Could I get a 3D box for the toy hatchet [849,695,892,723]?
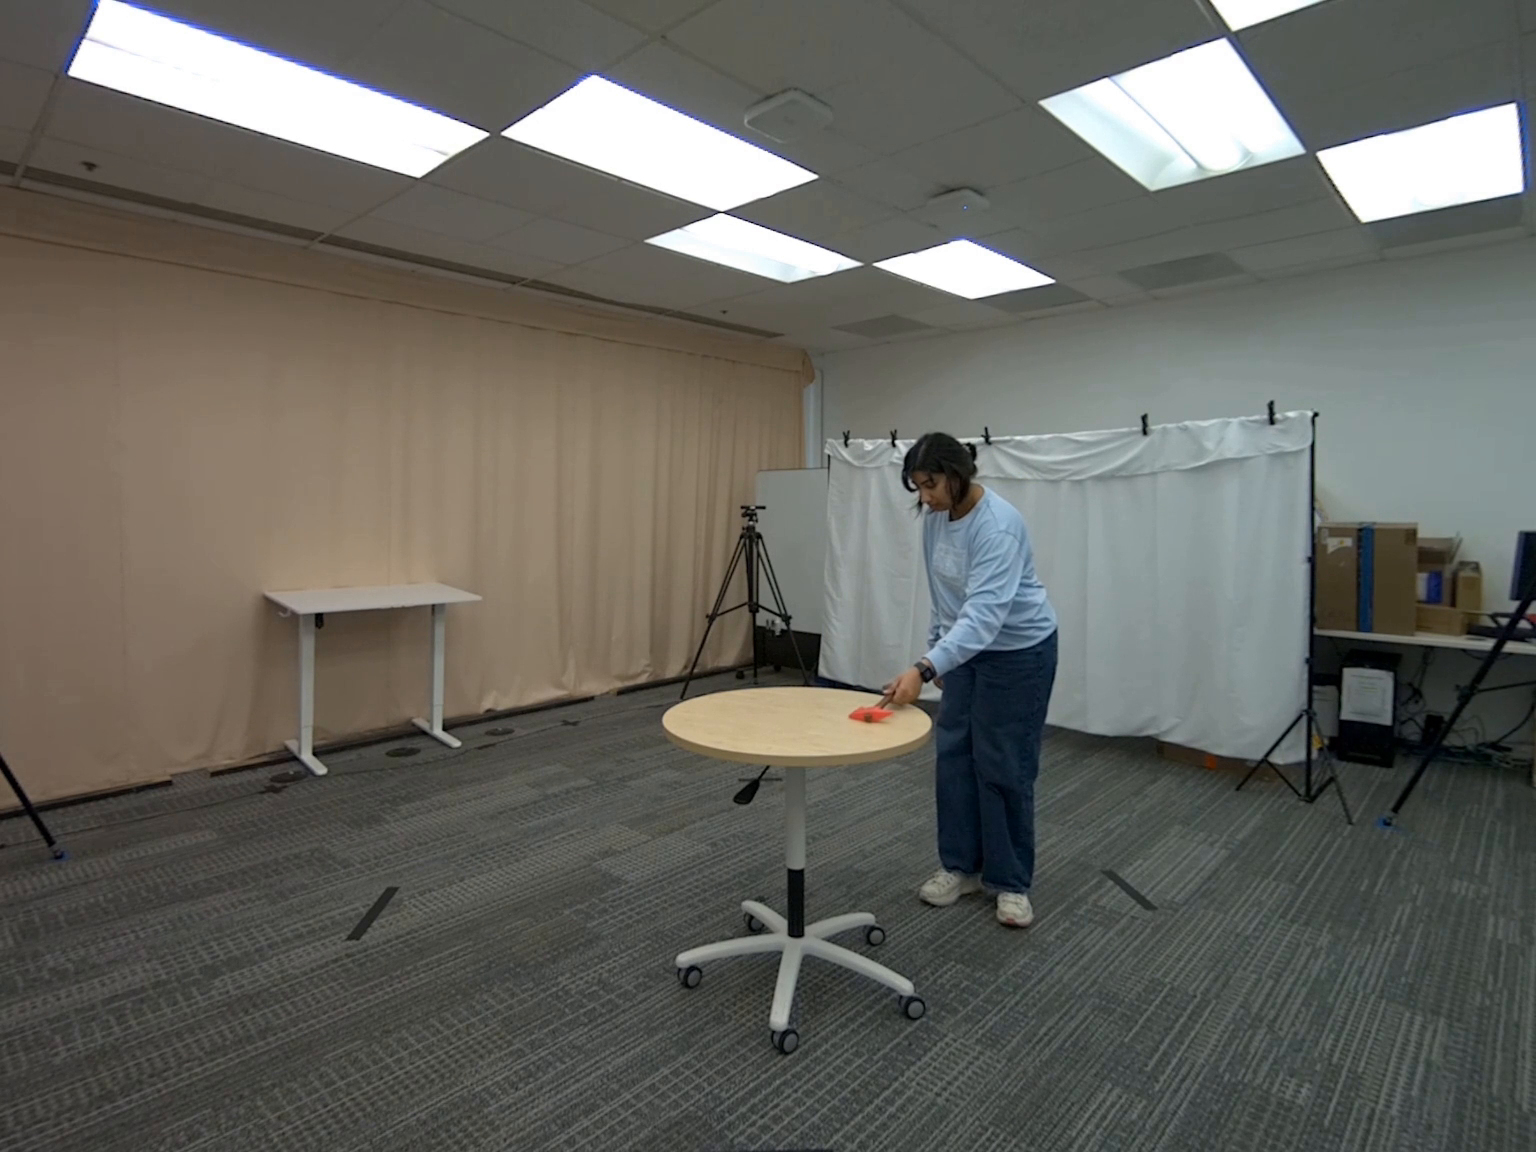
[{"bbox_3d":[0.320,0.375,2.459,0.133,0.029,0.267,-16,6,15],"label":"toy hatchet"}]
